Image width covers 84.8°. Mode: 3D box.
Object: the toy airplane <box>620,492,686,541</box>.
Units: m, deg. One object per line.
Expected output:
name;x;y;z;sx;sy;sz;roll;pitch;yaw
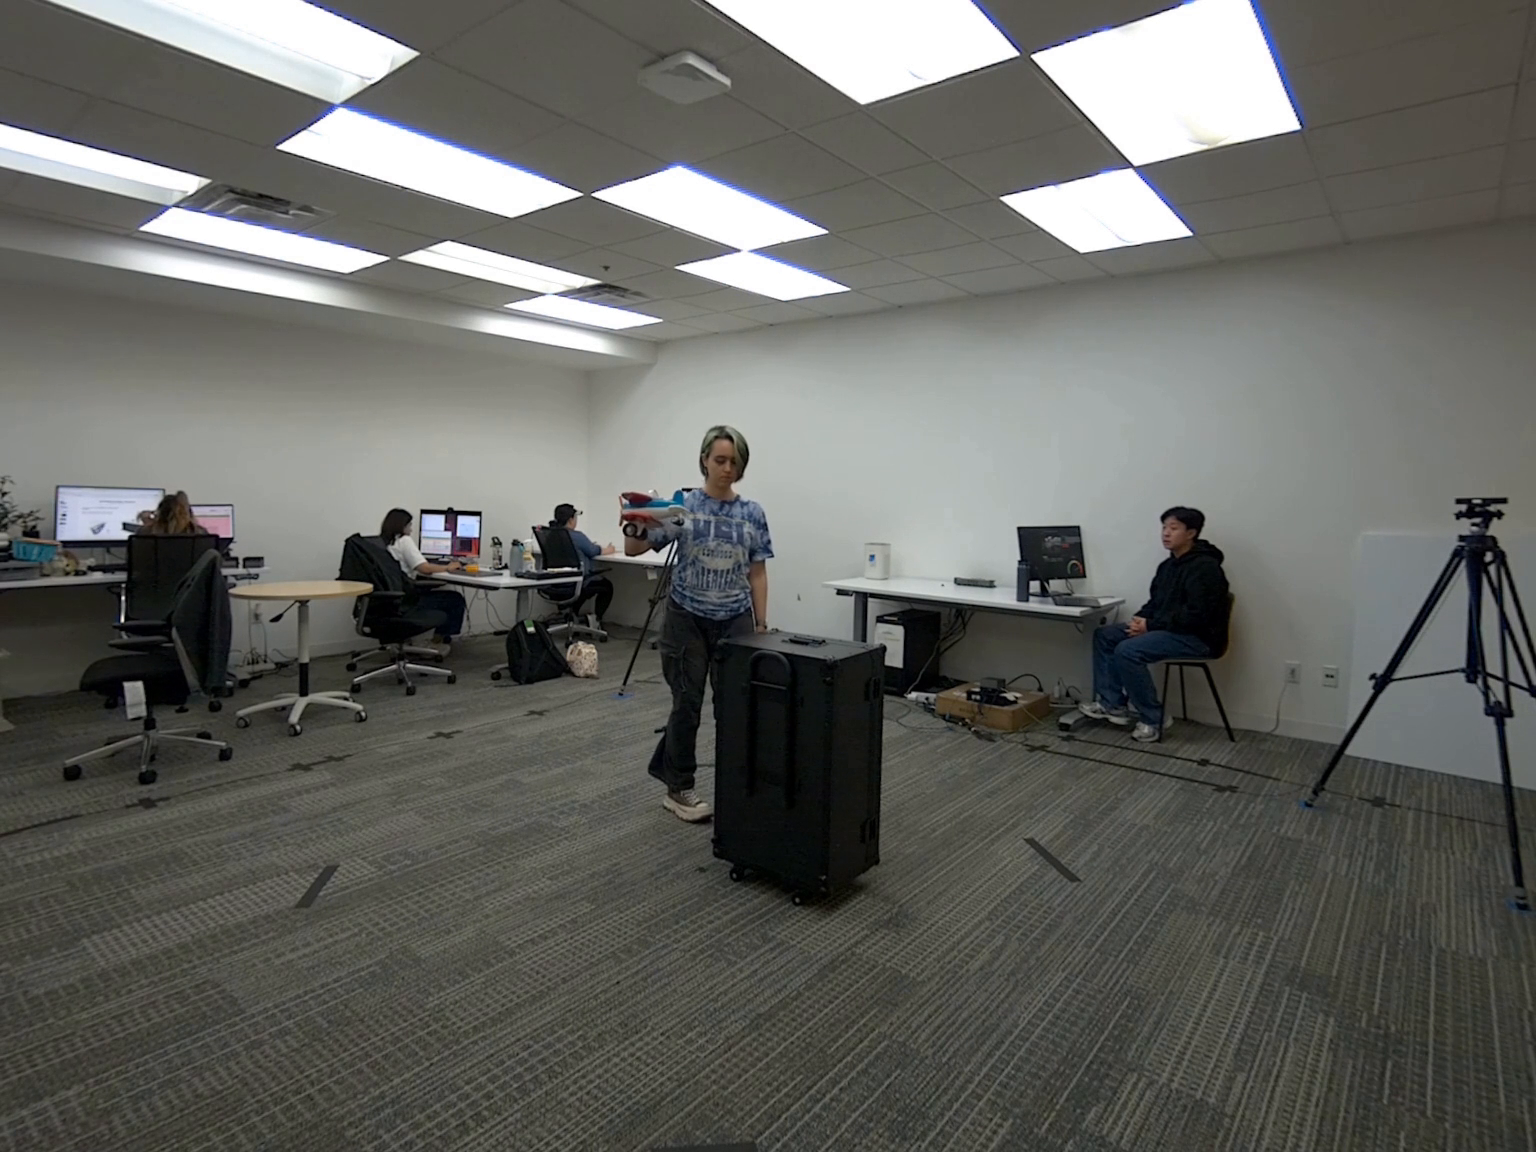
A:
toy airplane;-0.441;-0.236;3.192;0.257;0.159;0.250;-11;-12;-12
